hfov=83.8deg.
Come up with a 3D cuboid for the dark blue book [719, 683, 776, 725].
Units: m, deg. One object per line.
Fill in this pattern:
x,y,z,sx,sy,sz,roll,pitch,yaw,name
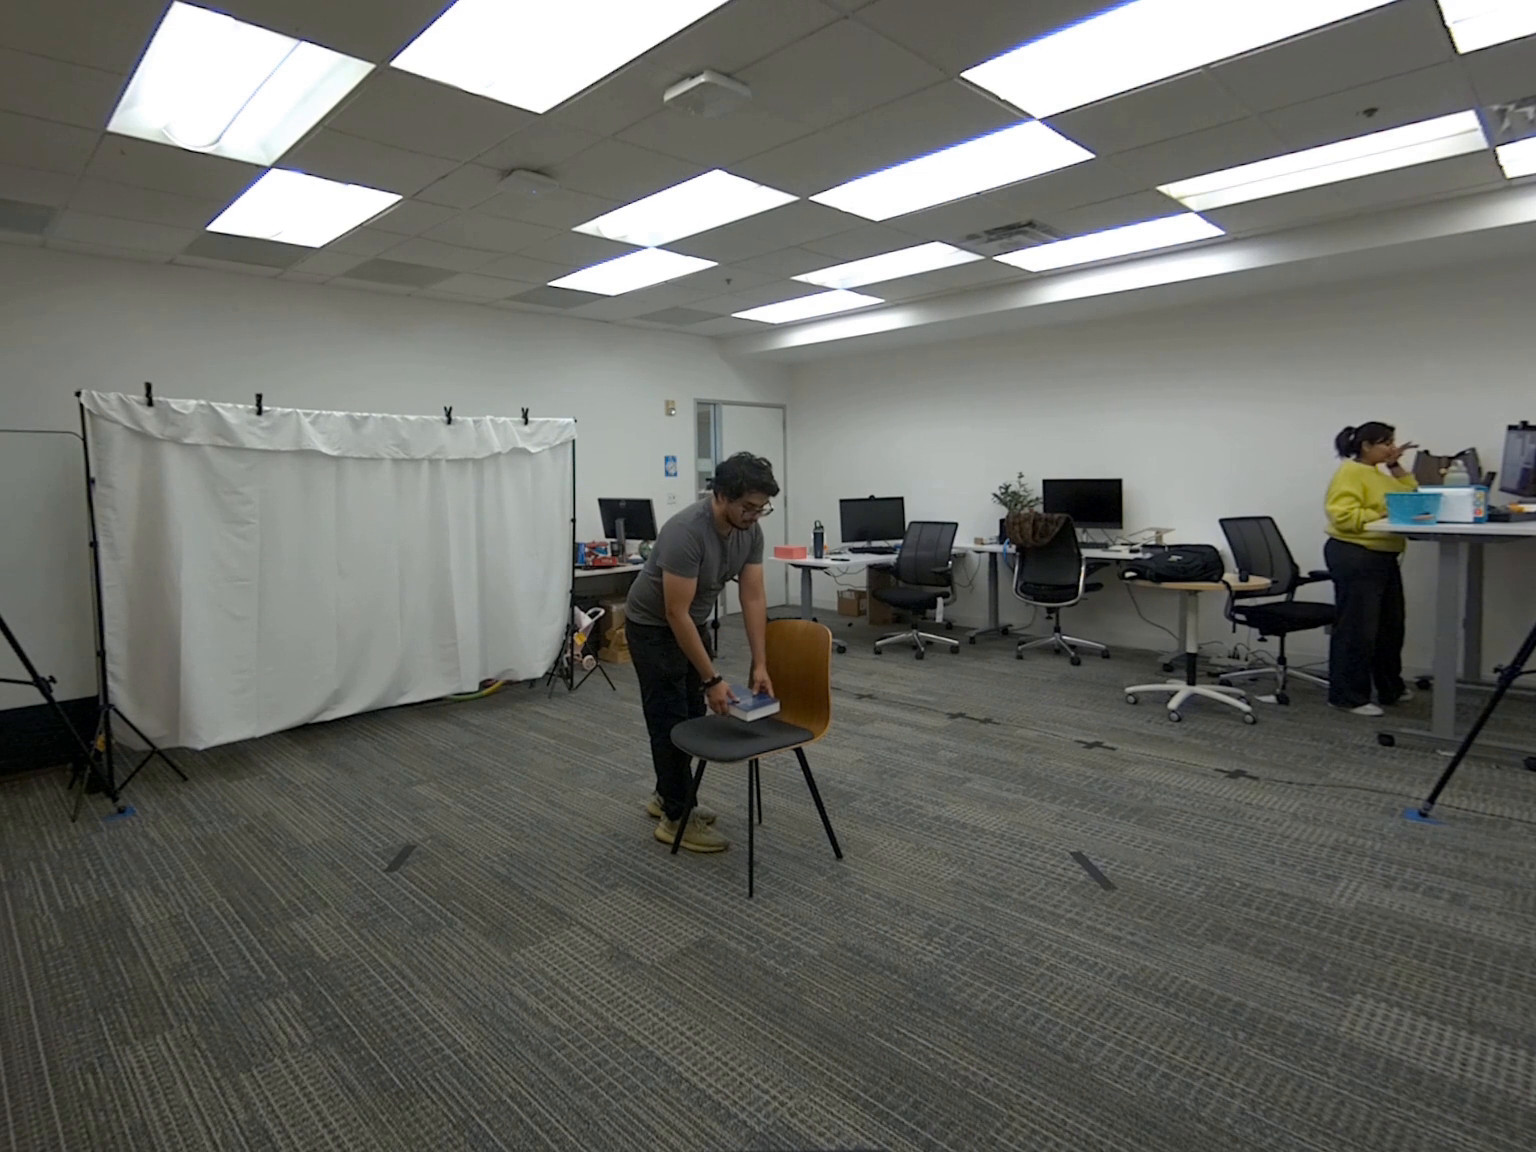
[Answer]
-0.117,0.455,3.092,0.159,0.045,0.253,-8,15,-36,dark blue book
